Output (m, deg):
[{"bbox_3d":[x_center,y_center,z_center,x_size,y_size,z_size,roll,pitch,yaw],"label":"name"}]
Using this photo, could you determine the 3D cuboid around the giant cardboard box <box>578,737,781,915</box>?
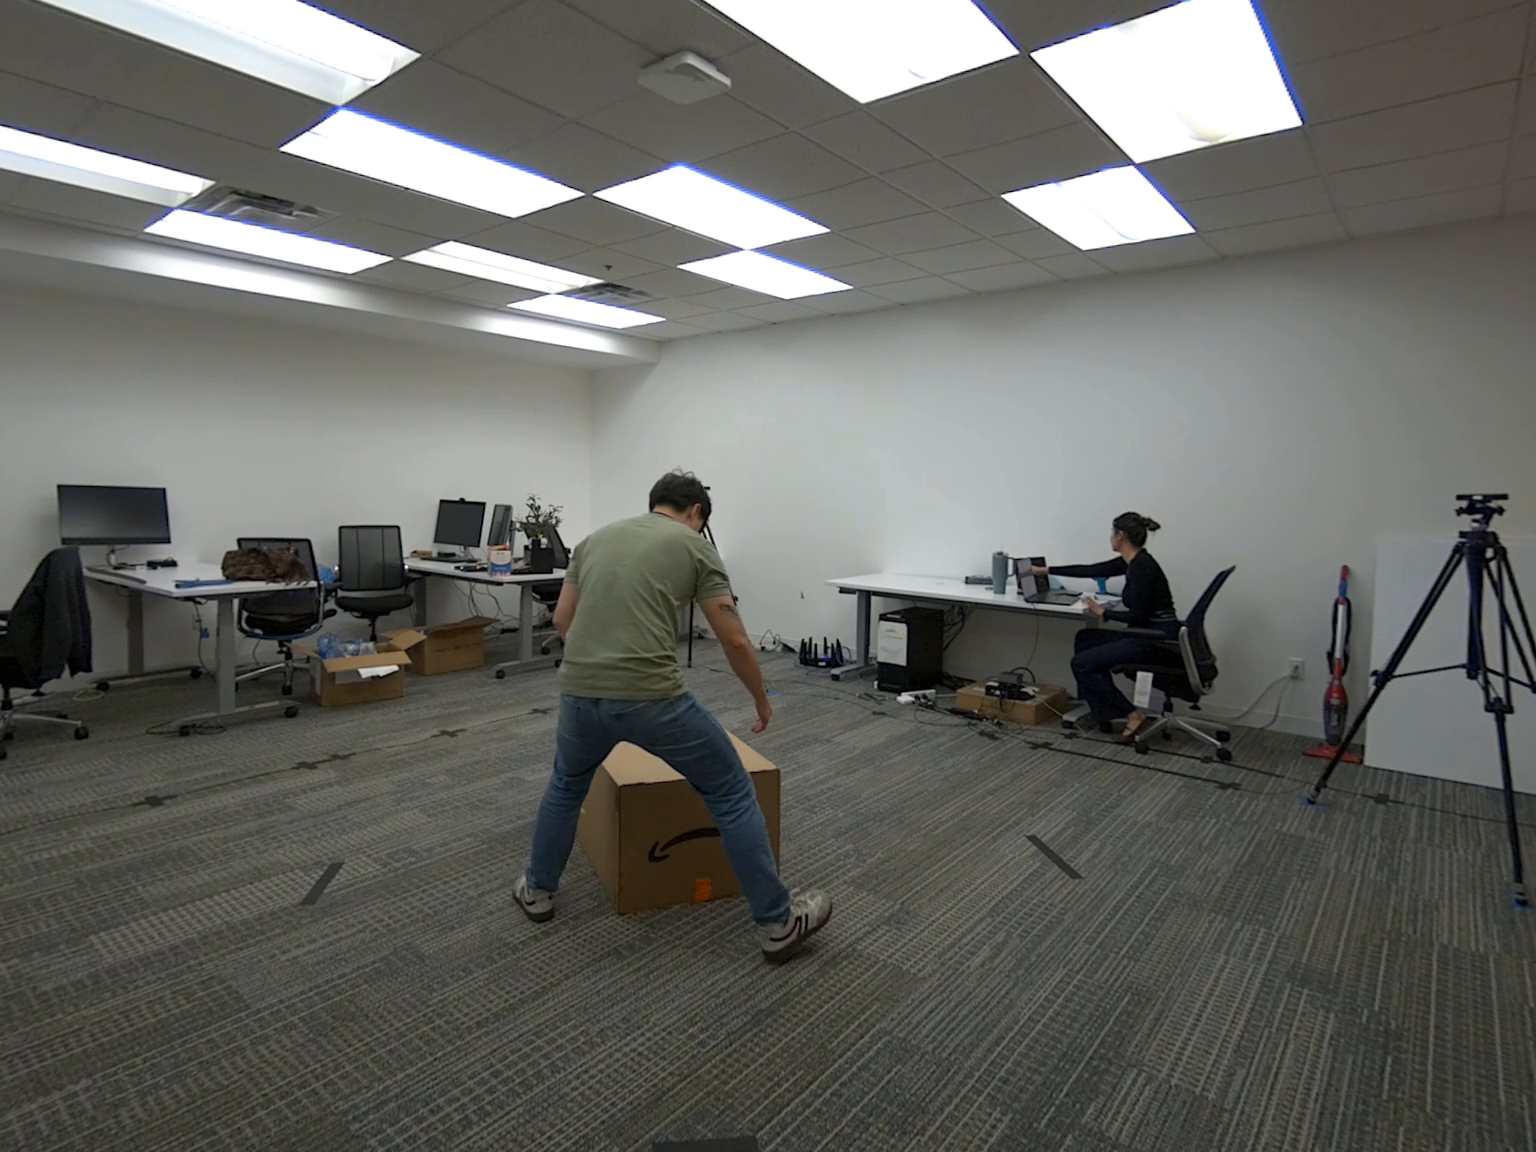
[{"bbox_3d":[-0.436,0.826,3.311,0.565,0.424,1.053,-1,6,-23],"label":"giant cardboard box"}]
